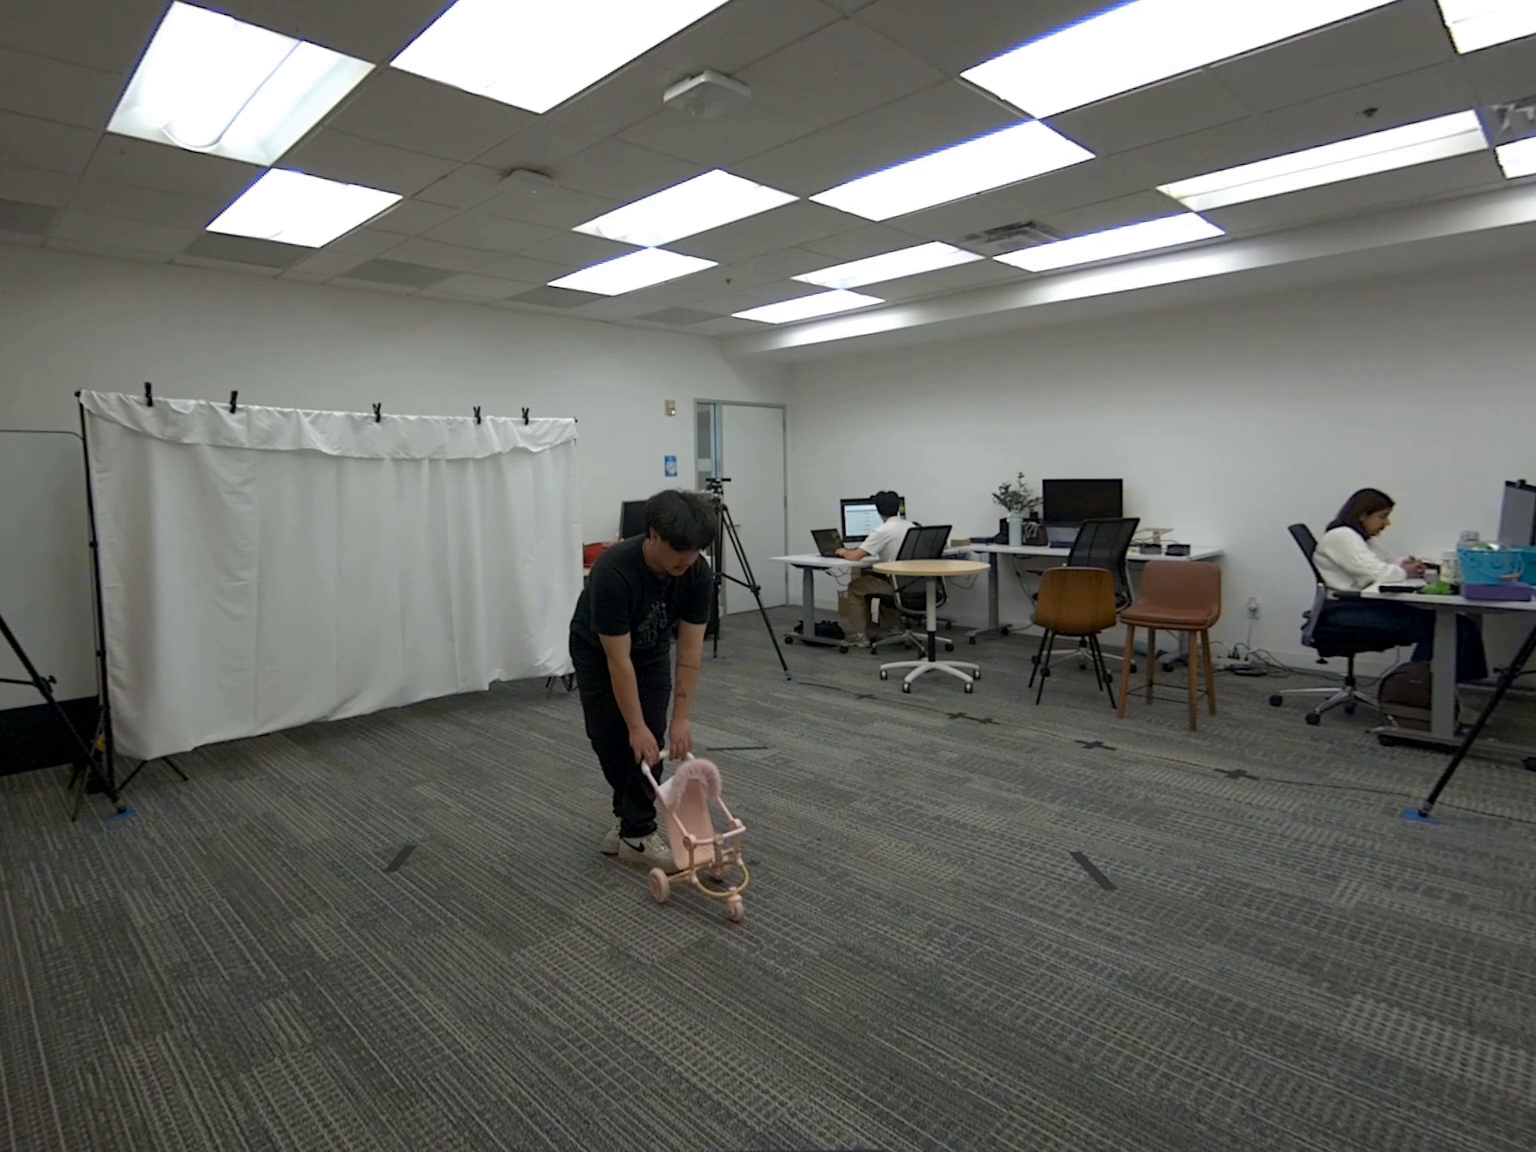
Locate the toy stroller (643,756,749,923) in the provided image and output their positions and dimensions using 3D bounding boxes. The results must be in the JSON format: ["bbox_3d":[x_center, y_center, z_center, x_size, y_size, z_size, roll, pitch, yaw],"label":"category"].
[{"bbox_3d":[-0.226,0.847,2.843,0.274,0.540,0.347,-4,-10,-35],"label":"toy stroller"}]
